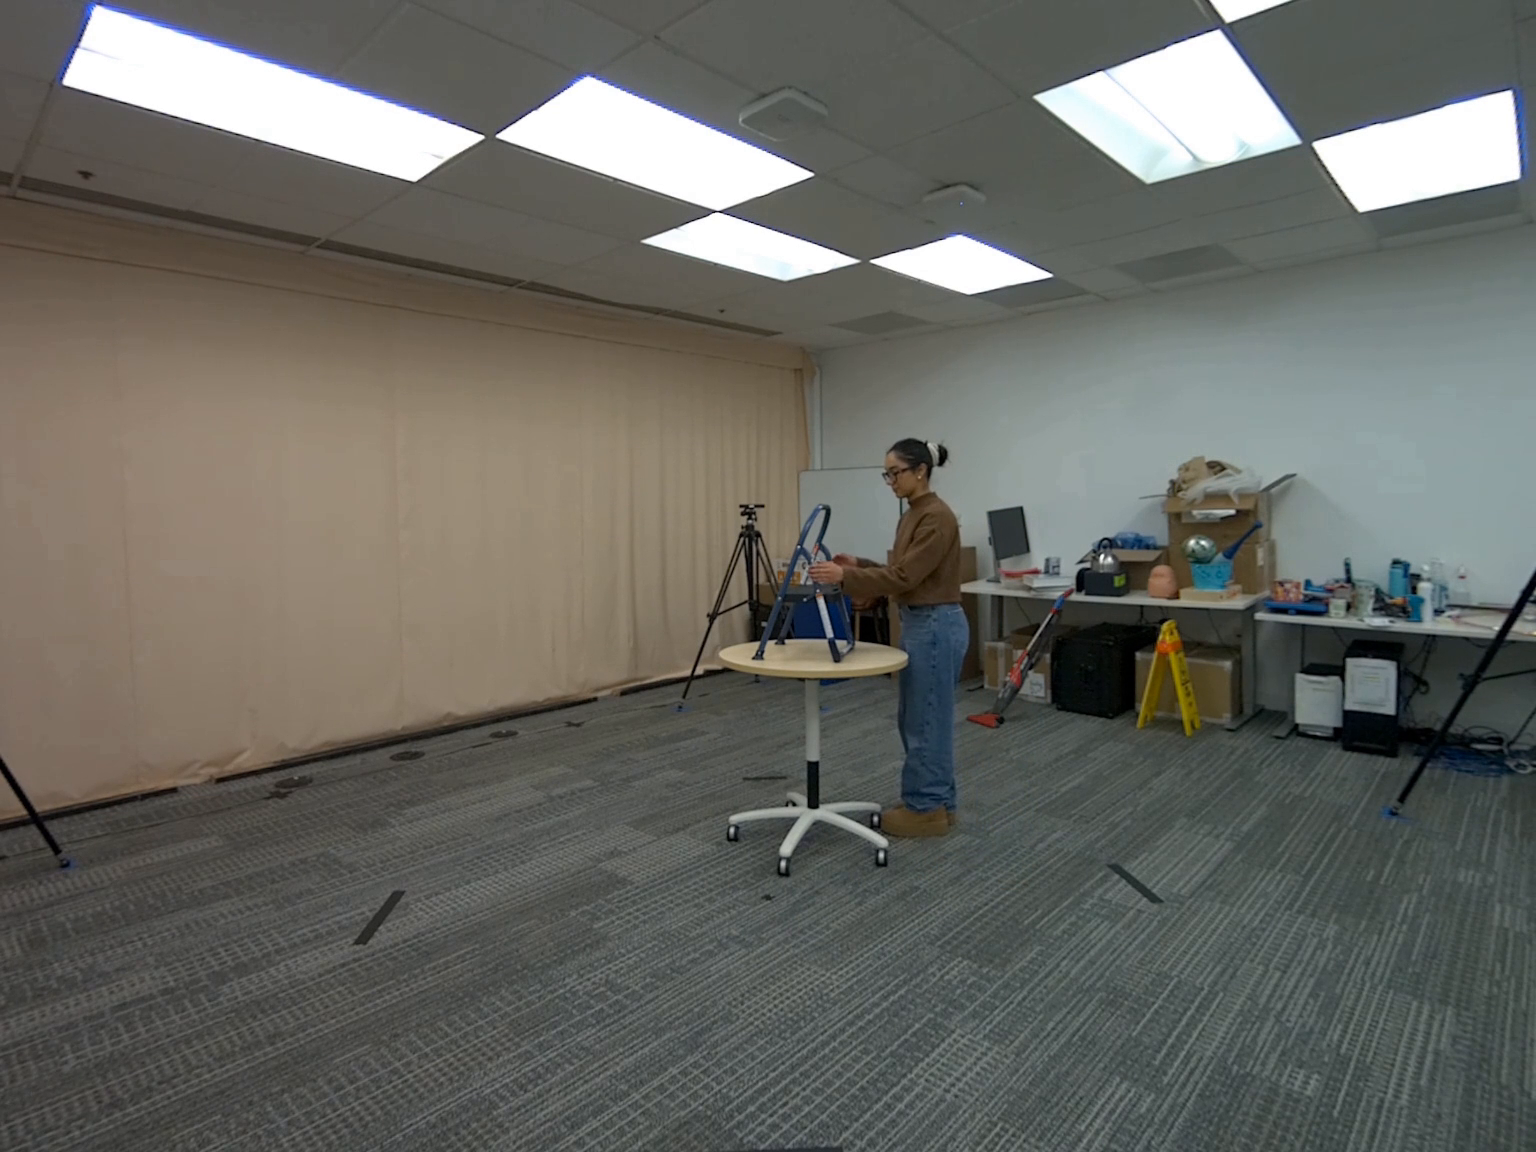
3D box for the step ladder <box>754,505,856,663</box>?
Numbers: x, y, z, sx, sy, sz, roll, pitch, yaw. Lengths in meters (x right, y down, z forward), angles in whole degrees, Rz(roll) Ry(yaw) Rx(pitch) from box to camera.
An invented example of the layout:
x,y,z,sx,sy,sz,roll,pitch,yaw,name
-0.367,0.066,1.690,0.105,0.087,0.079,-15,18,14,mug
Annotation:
x,y,z,sx,sy,sz,roll,pitch,yaw,name
0.165,0.017,3.456,0.355,0.605,0.424,-1,2,16,step ladder
